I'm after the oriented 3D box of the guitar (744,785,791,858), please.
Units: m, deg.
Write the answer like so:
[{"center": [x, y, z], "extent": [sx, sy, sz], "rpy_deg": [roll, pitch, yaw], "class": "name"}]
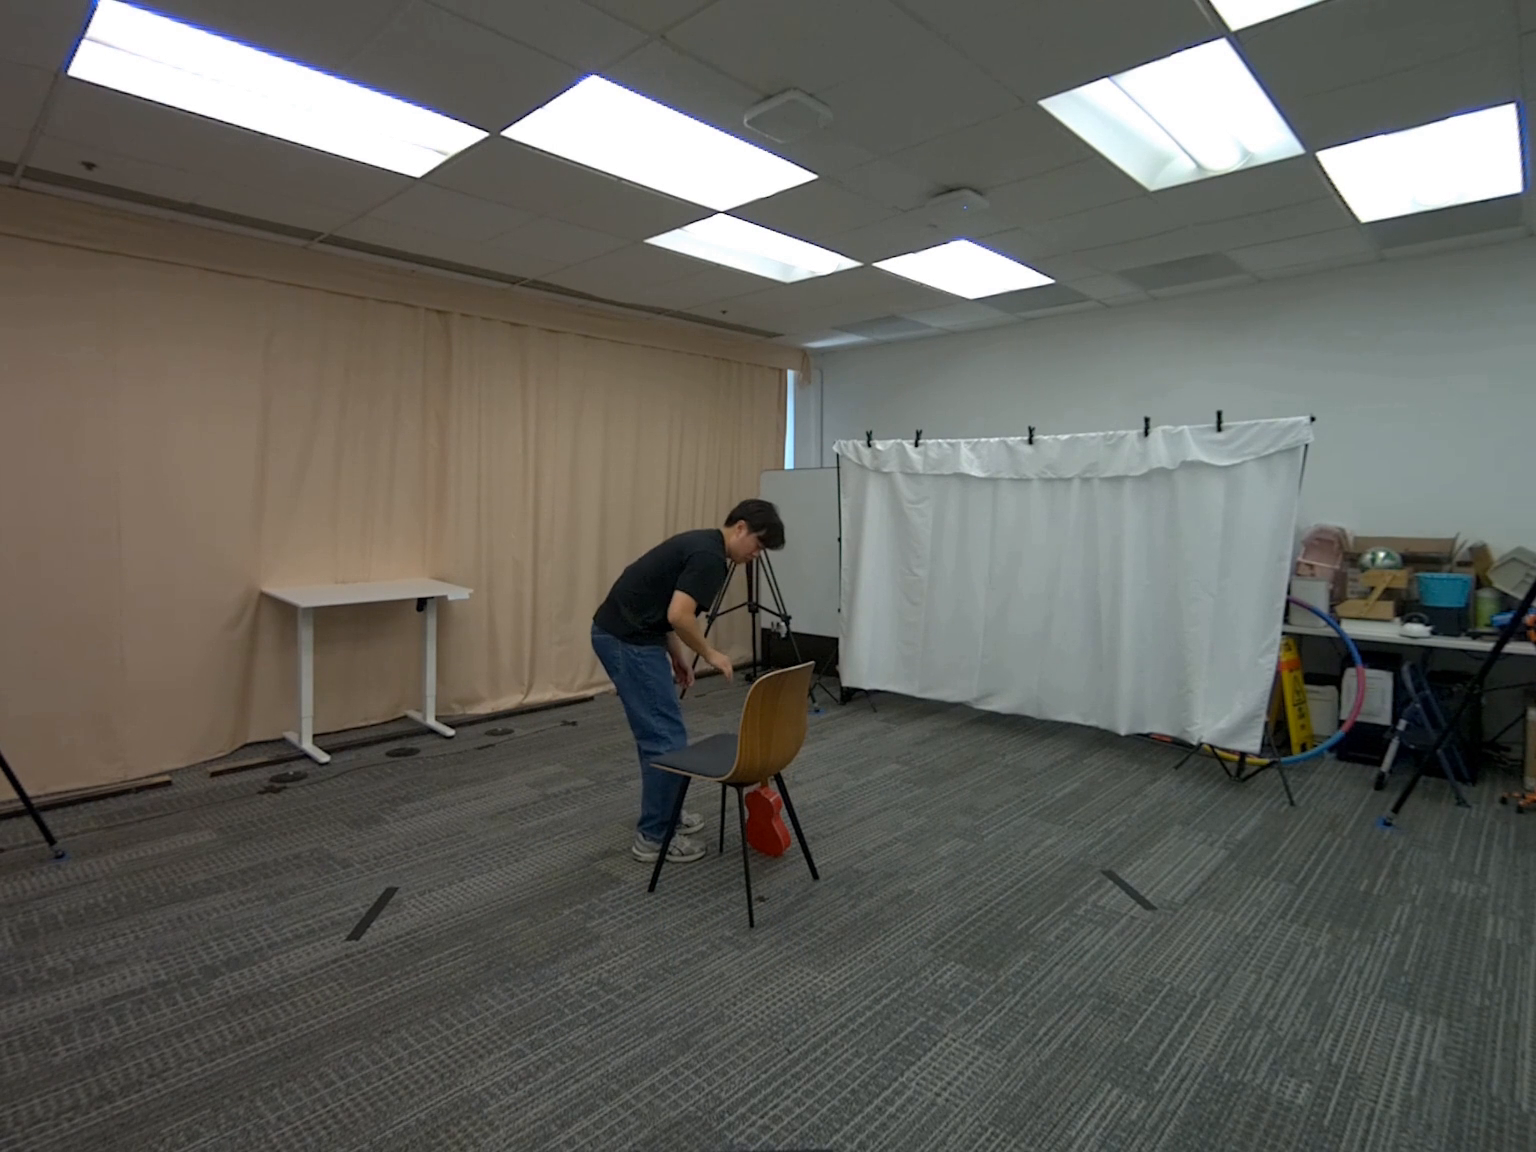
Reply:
[{"center": [-0.039, 0.866, 3.353], "extent": [0.199, 0.494, 0.069], "rpy_deg": [-6, 10, 41], "class": "guitar"}]
